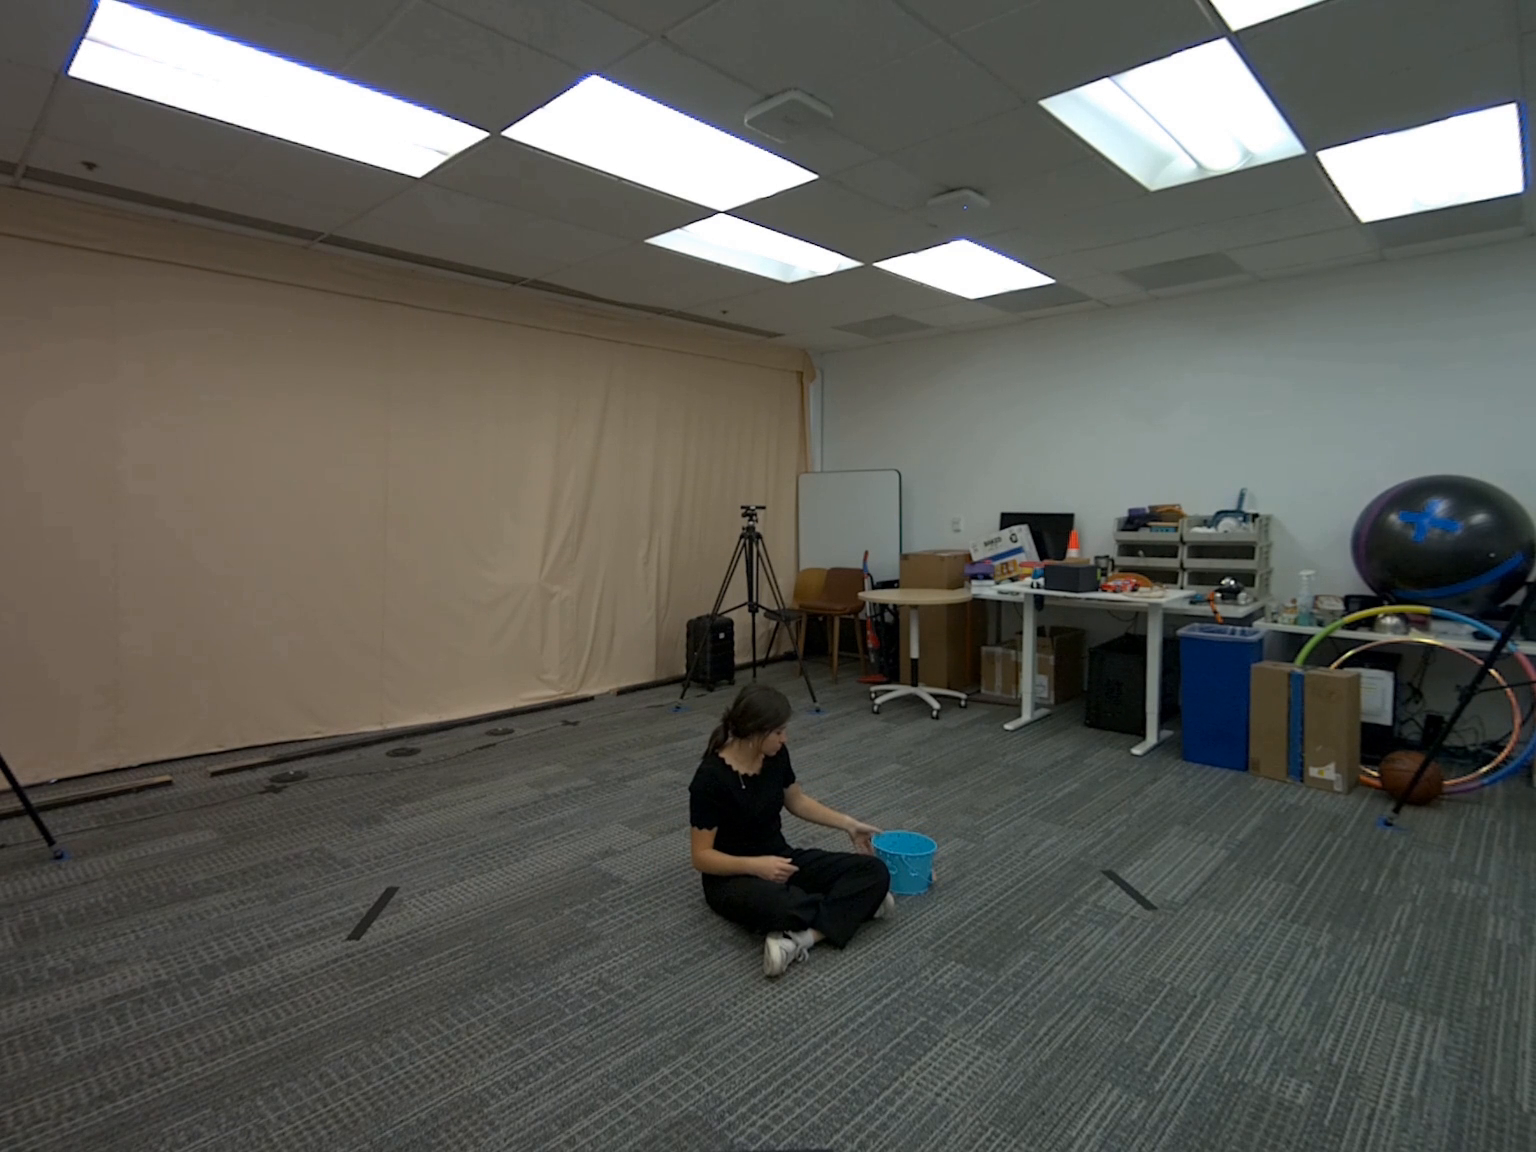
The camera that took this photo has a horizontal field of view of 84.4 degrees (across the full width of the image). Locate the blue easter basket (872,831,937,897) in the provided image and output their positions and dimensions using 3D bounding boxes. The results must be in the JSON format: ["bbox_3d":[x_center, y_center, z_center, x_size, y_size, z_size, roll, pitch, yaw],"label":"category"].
[{"bbox_3d":[0.508,1.053,3.085,0.243,0.155,0.244,0,3,-2],"label":"blue easter basket"}]
